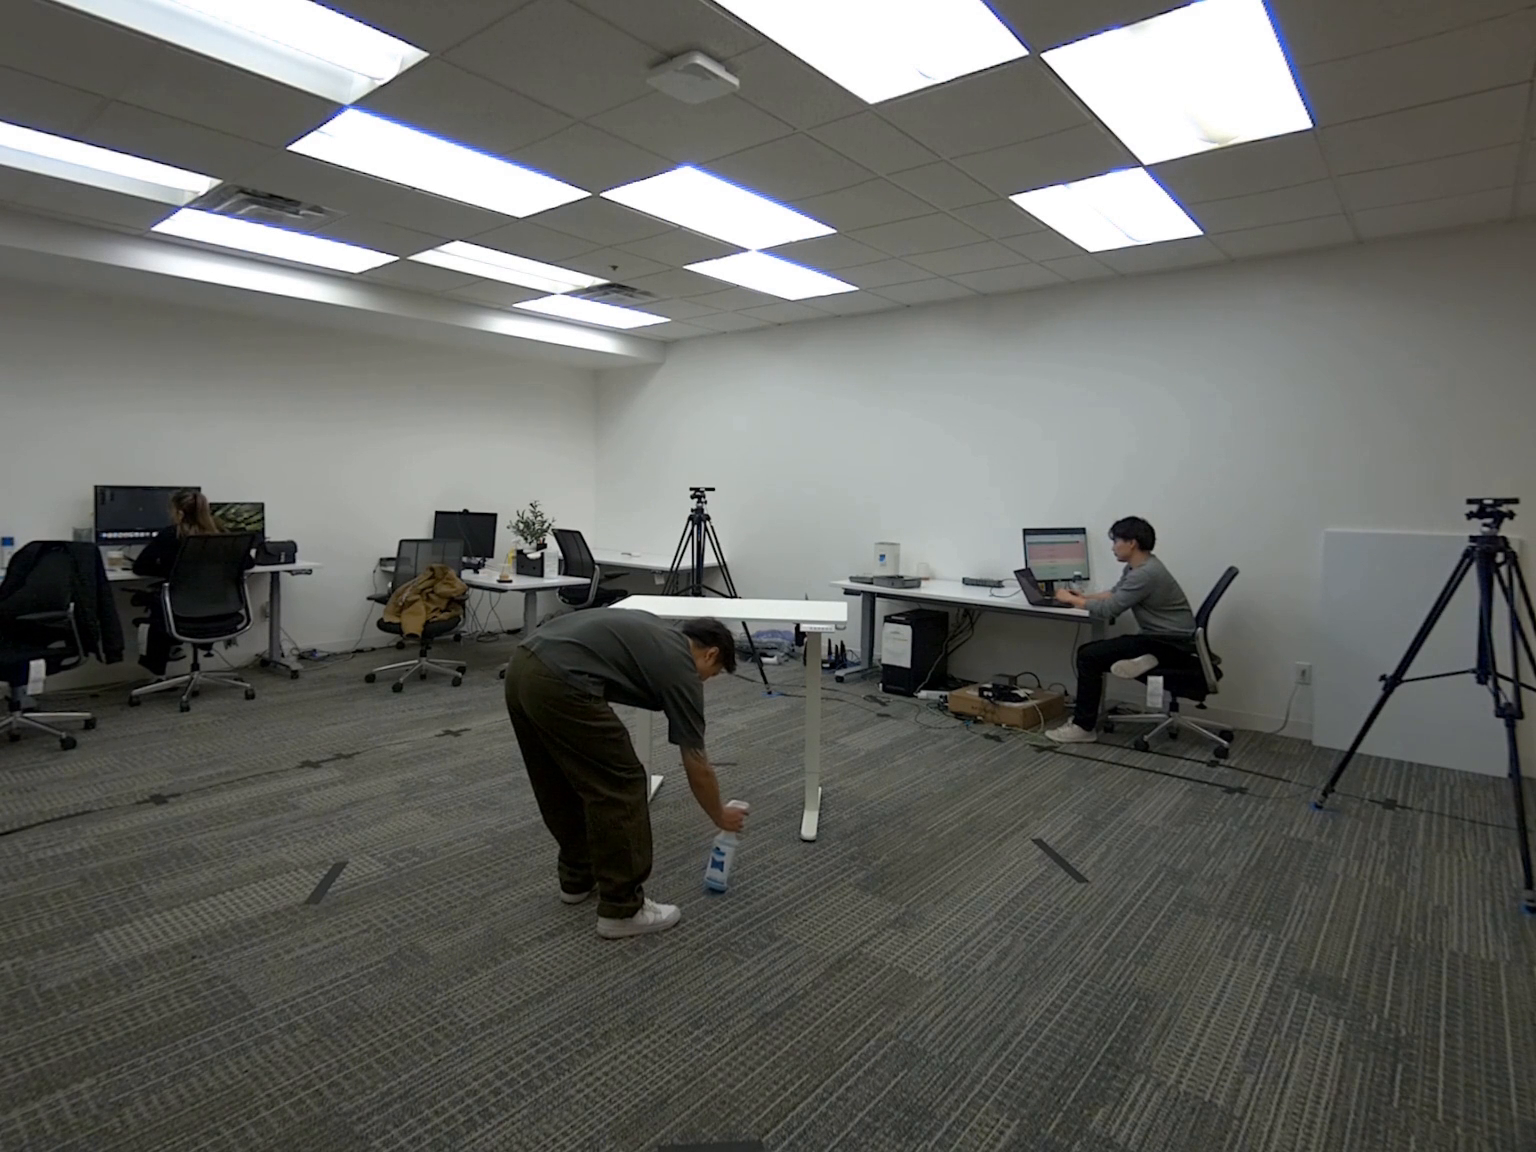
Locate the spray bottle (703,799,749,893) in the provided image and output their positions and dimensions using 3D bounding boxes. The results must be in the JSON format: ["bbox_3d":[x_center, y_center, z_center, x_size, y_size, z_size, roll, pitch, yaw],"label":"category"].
[{"bbox_3d":[-0.157,0.938,2.968,0.089,0.299,0.087,17,-11,-5],"label":"spray bottle"}]
